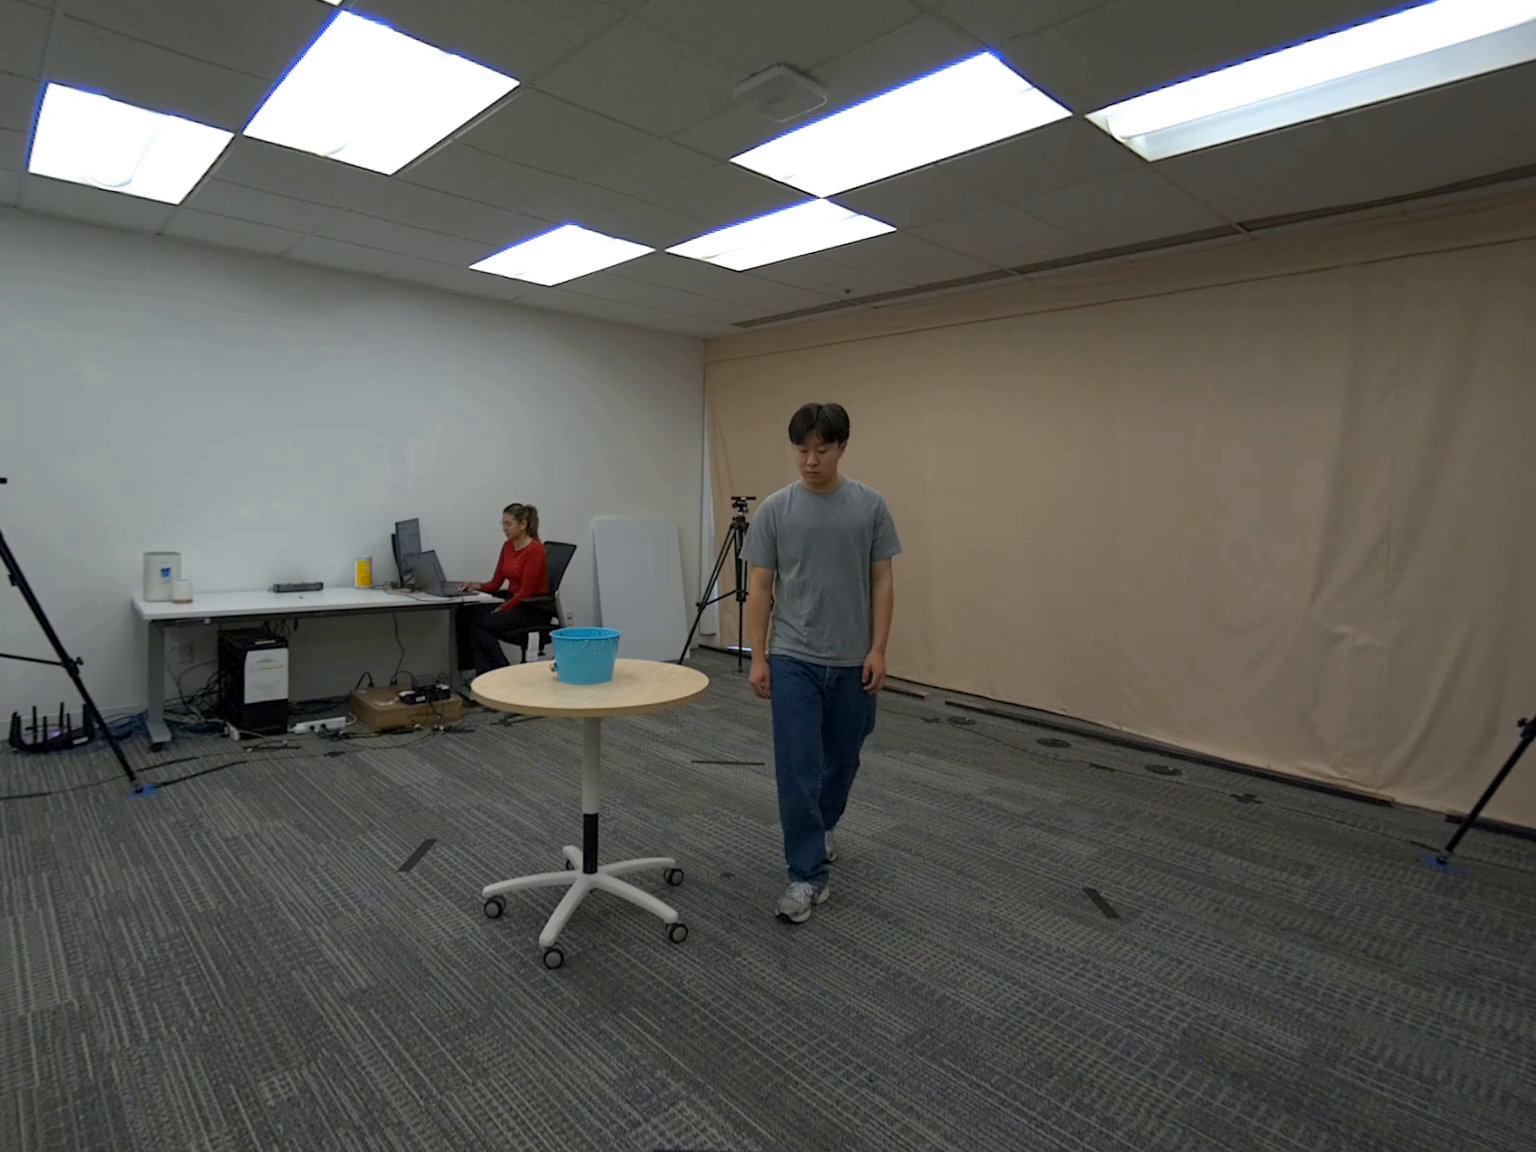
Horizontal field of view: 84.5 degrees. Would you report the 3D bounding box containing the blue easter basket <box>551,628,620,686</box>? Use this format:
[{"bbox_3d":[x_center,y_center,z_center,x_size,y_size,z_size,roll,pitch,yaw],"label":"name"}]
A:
[{"bbox_3d":[-0.619,0.268,2.782,0.243,0.155,0.244,1,4,-1],"label":"blue easter basket"}]
